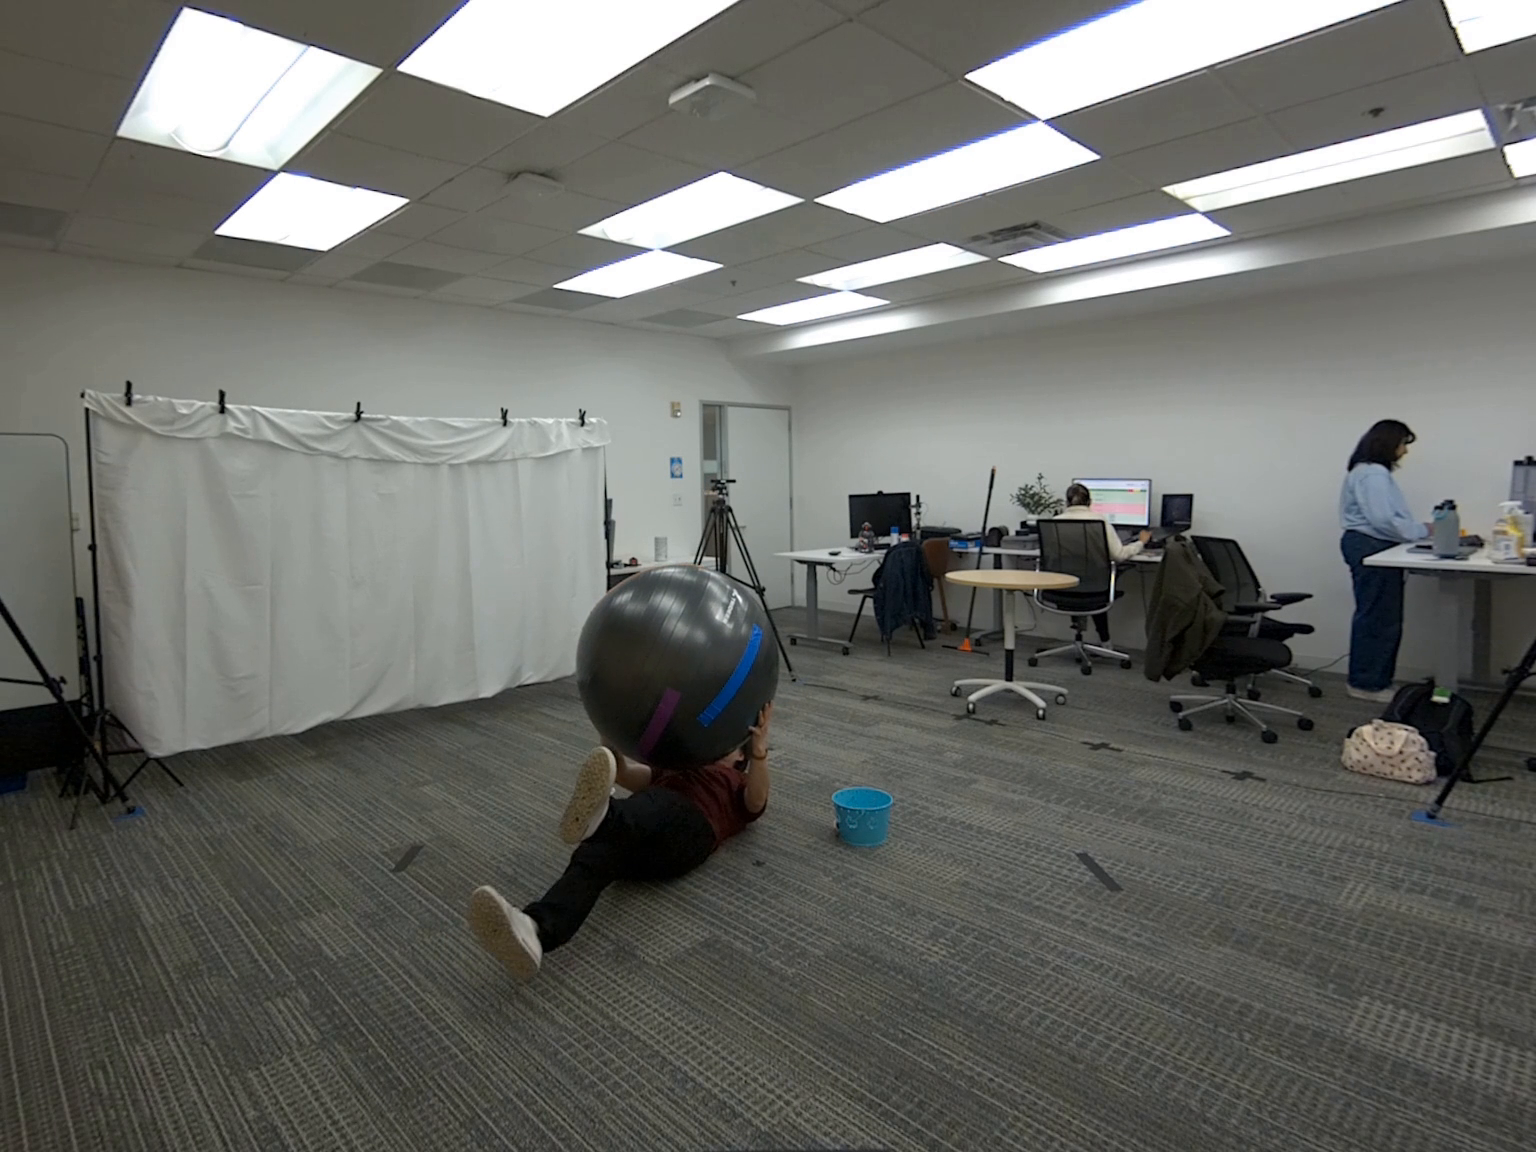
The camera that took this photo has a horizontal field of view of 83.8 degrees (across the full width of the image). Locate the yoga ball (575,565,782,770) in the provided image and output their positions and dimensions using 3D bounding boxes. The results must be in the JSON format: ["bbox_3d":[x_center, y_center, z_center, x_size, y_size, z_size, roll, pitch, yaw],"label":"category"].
[{"bbox_3d":[-0.343,0.337,3.208,0.757,0.755,0.762,-1,5,-2],"label":"yoga ball"}]
